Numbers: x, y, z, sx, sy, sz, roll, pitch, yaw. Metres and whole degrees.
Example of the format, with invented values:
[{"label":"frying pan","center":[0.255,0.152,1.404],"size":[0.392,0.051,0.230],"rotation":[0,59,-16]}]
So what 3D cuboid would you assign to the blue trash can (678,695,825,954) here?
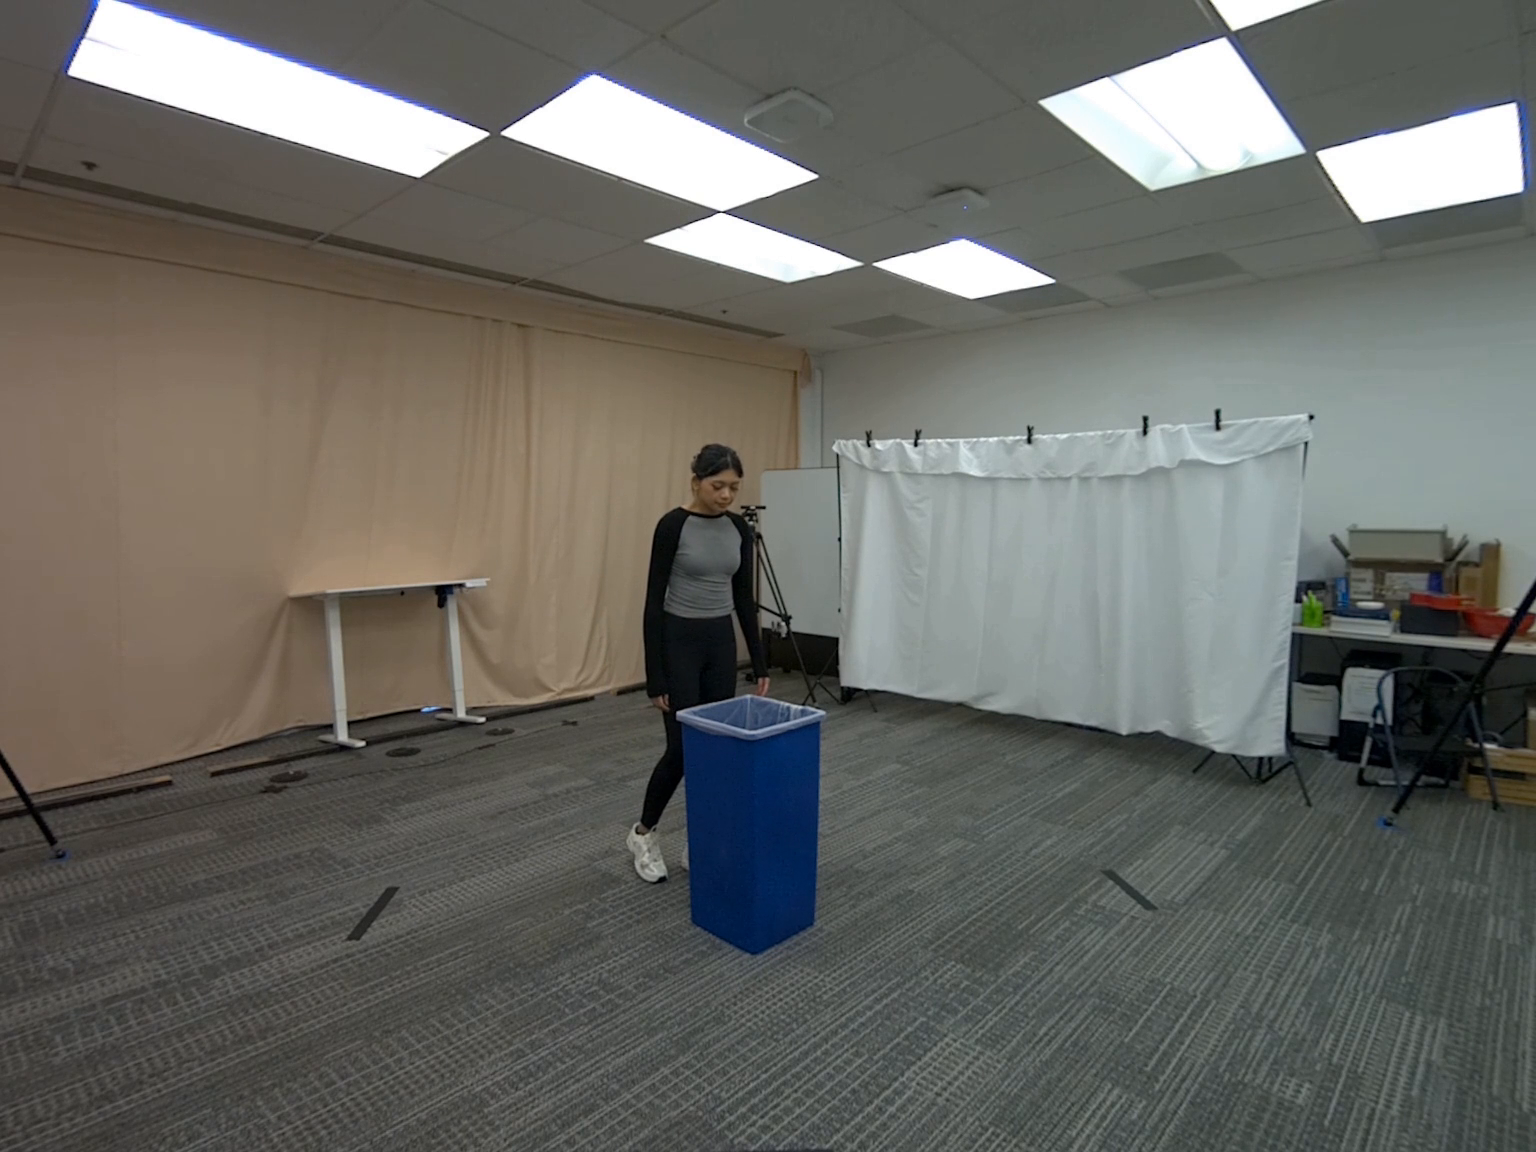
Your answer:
[{"label":"blue trash can","center":[-0.048,0.804,2.784],"size":[0.390,0.712,0.362],"rotation":[3,4,45]}]
